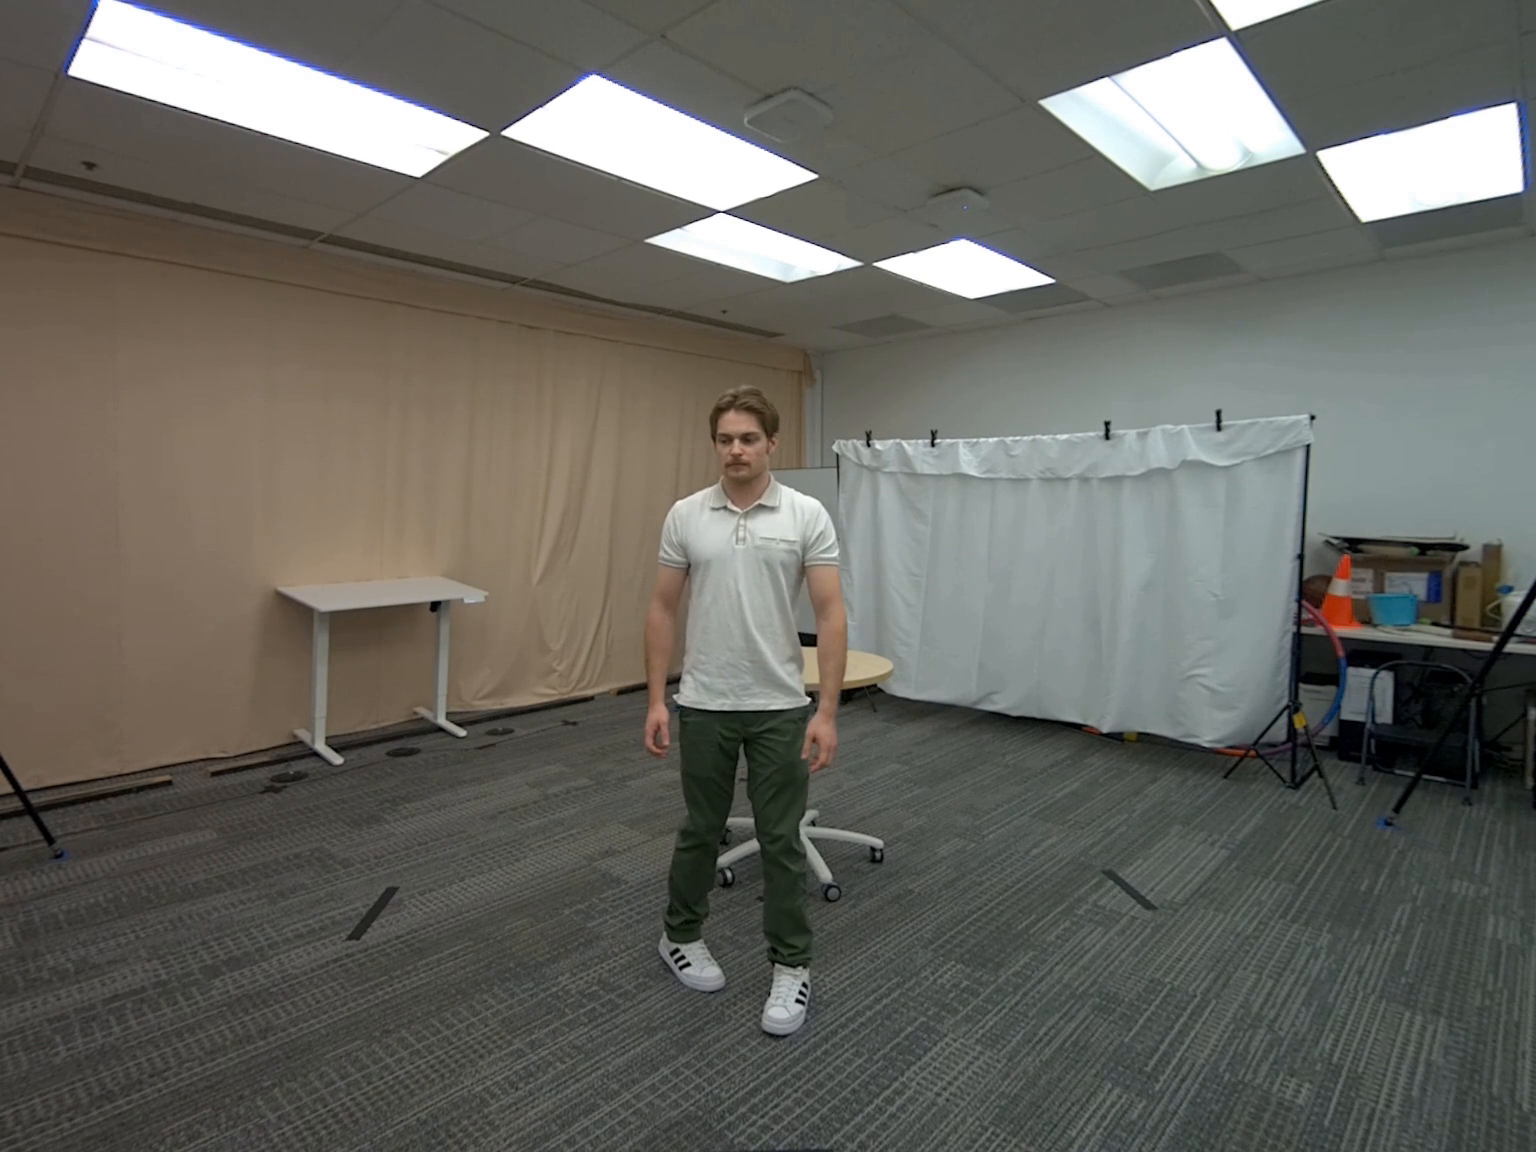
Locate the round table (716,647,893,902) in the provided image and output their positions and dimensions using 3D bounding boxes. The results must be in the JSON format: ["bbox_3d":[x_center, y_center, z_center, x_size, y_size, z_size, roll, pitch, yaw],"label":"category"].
[{"bbox_3d":[0.103,0.729,3.274,0.763,0.792,0.766,0,4,-2],"label":"round table"}]
